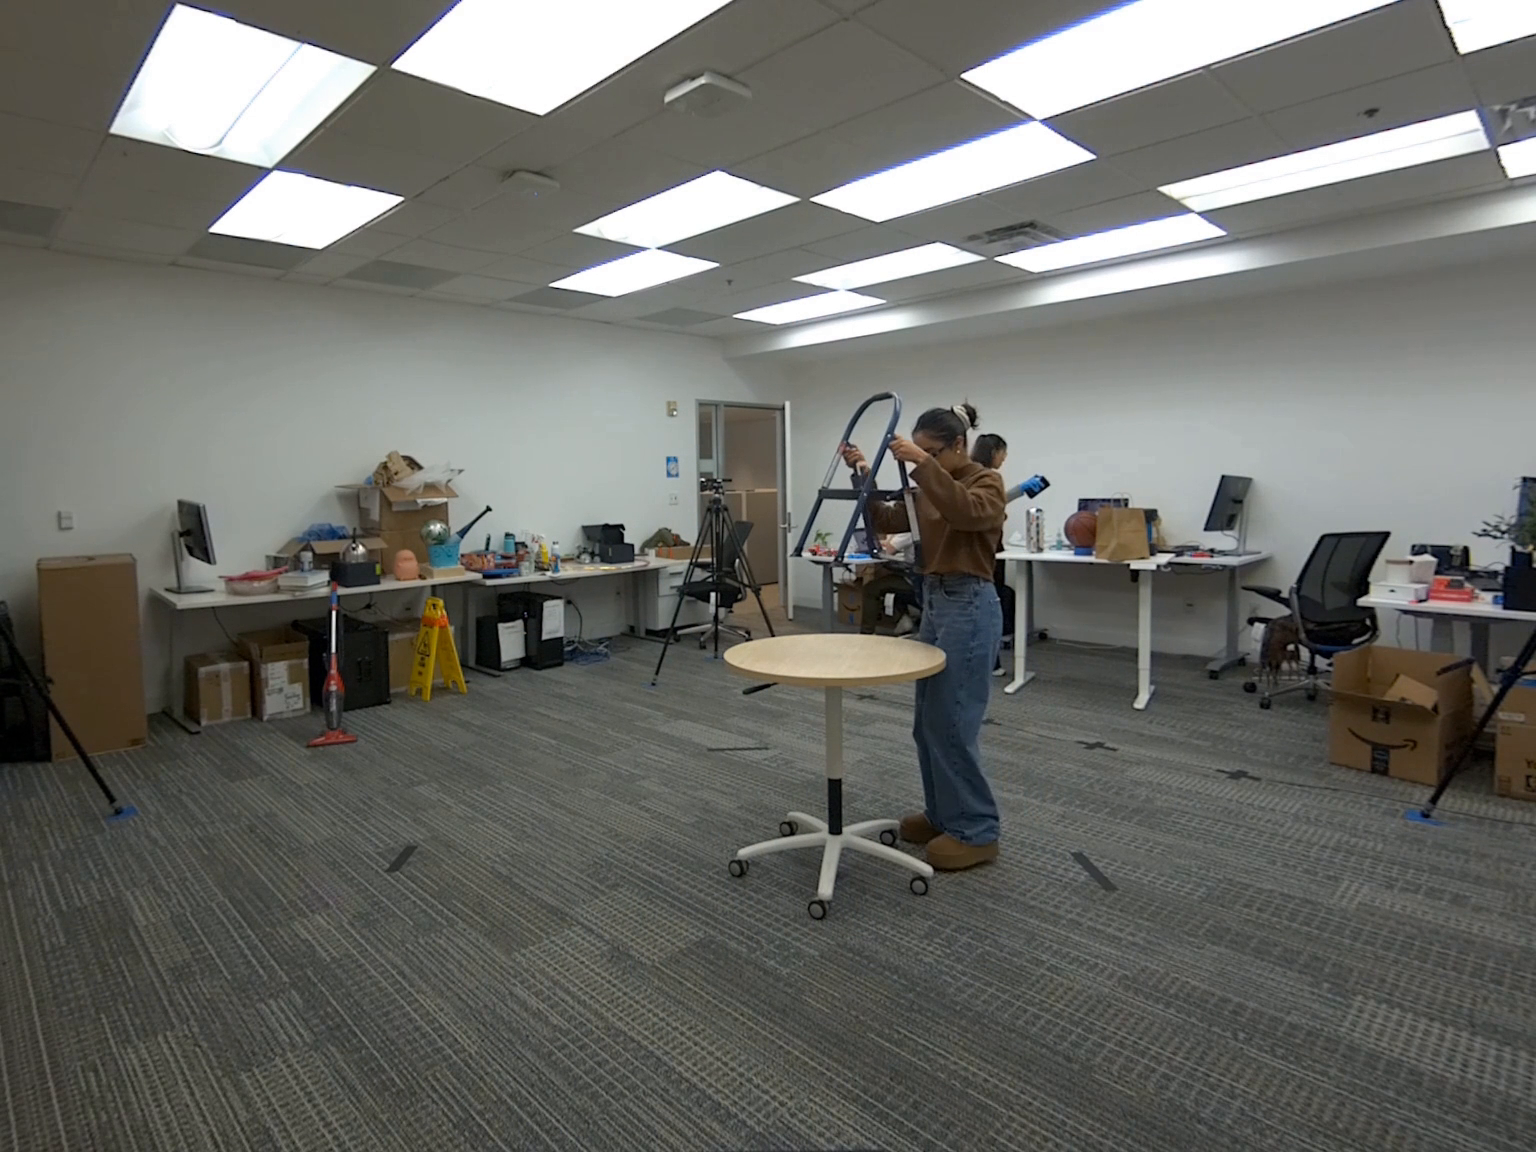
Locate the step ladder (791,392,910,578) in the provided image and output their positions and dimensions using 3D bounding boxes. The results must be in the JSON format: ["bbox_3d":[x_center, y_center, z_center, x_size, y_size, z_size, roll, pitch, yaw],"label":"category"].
[{"bbox_3d":[0.331,-0.348,3.041,0.344,0.604,0.438,1,4,-15],"label":"step ladder"}]
